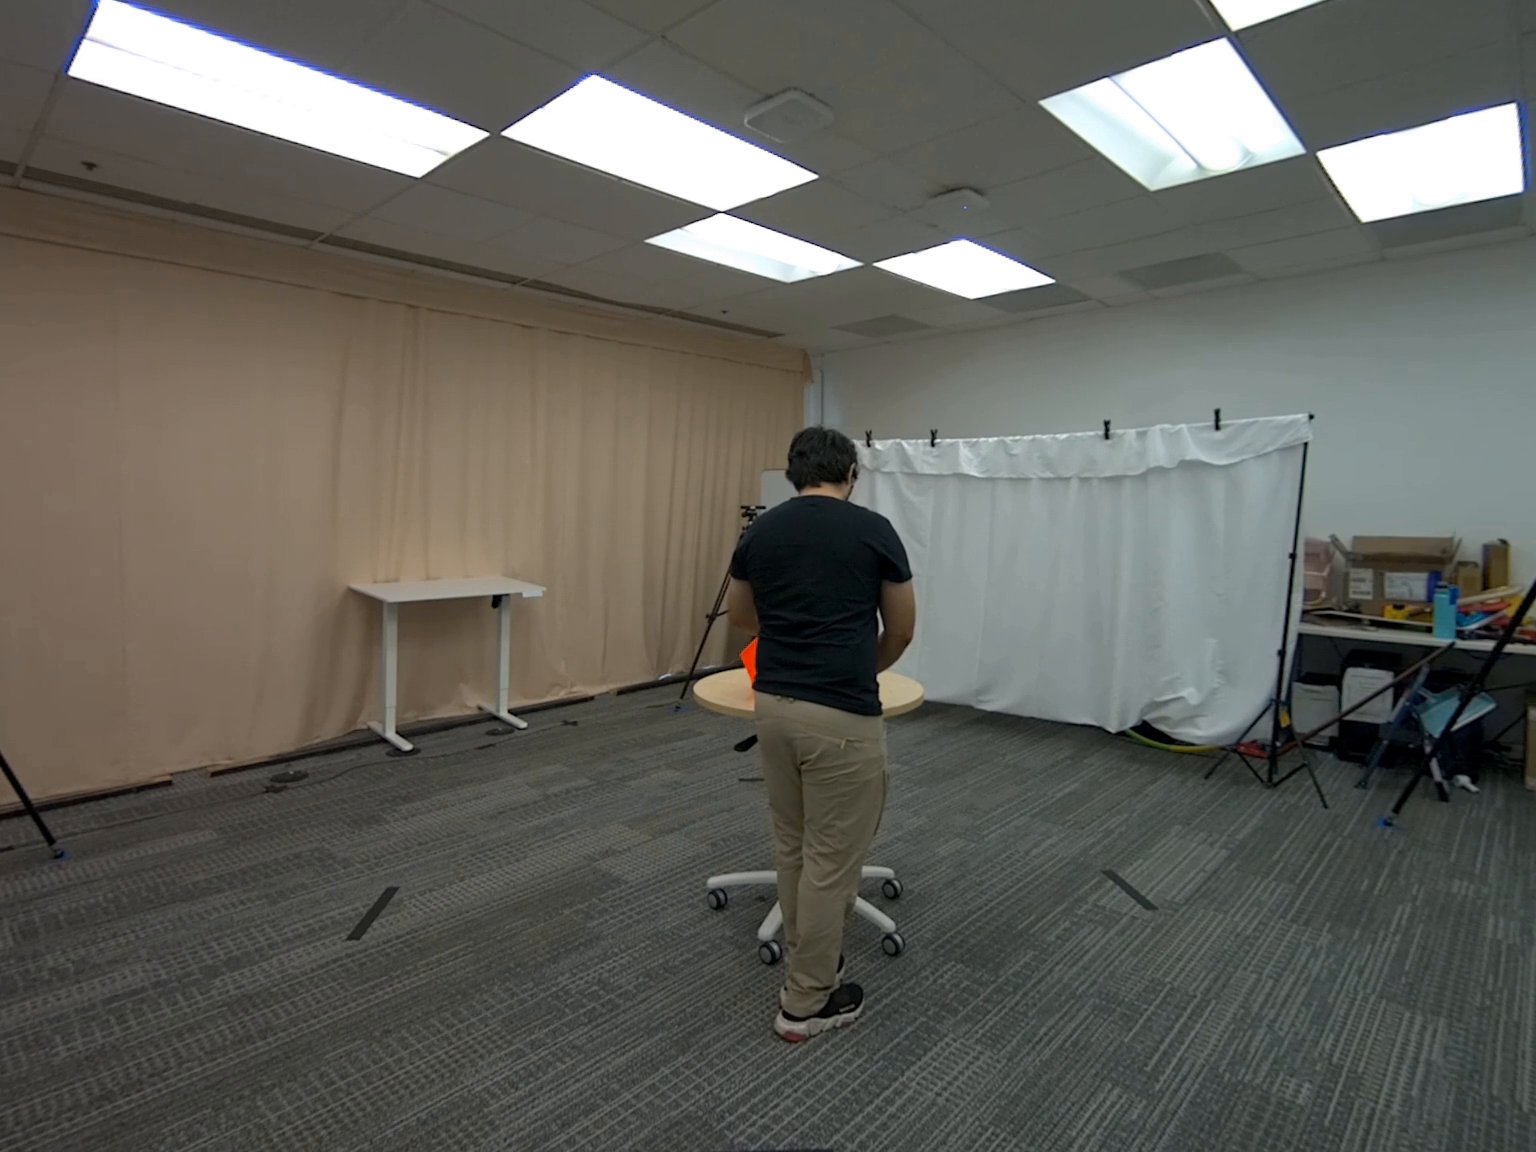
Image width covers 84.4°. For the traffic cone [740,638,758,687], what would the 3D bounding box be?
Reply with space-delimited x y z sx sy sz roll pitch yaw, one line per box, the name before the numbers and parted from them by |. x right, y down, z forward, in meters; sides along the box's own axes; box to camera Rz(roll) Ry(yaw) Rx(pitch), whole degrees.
traffic cone | 0.137 0.326 2.657 0.201 0.199 0.398 -38 44 -25
